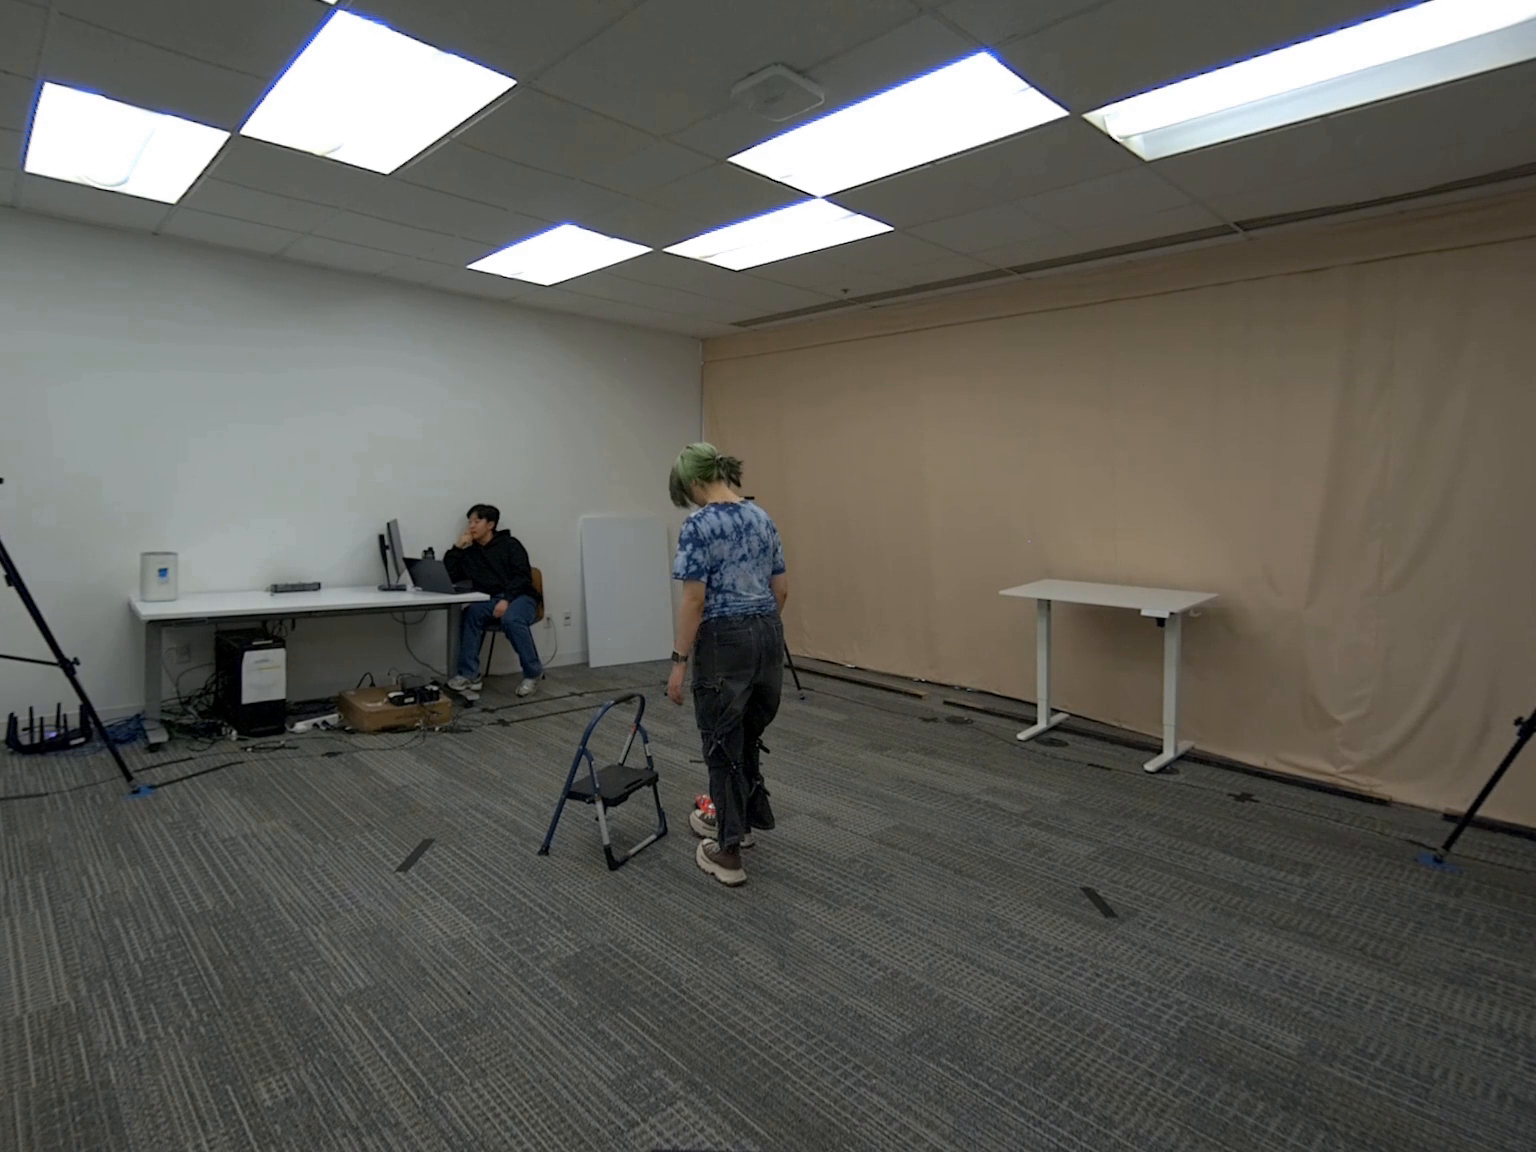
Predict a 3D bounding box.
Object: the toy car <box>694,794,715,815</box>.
[{"bbox_3d":[-0.258,1.017,3.699,0.129,0.083,0.255,1,-6,-11],"label":"toy car"}]
